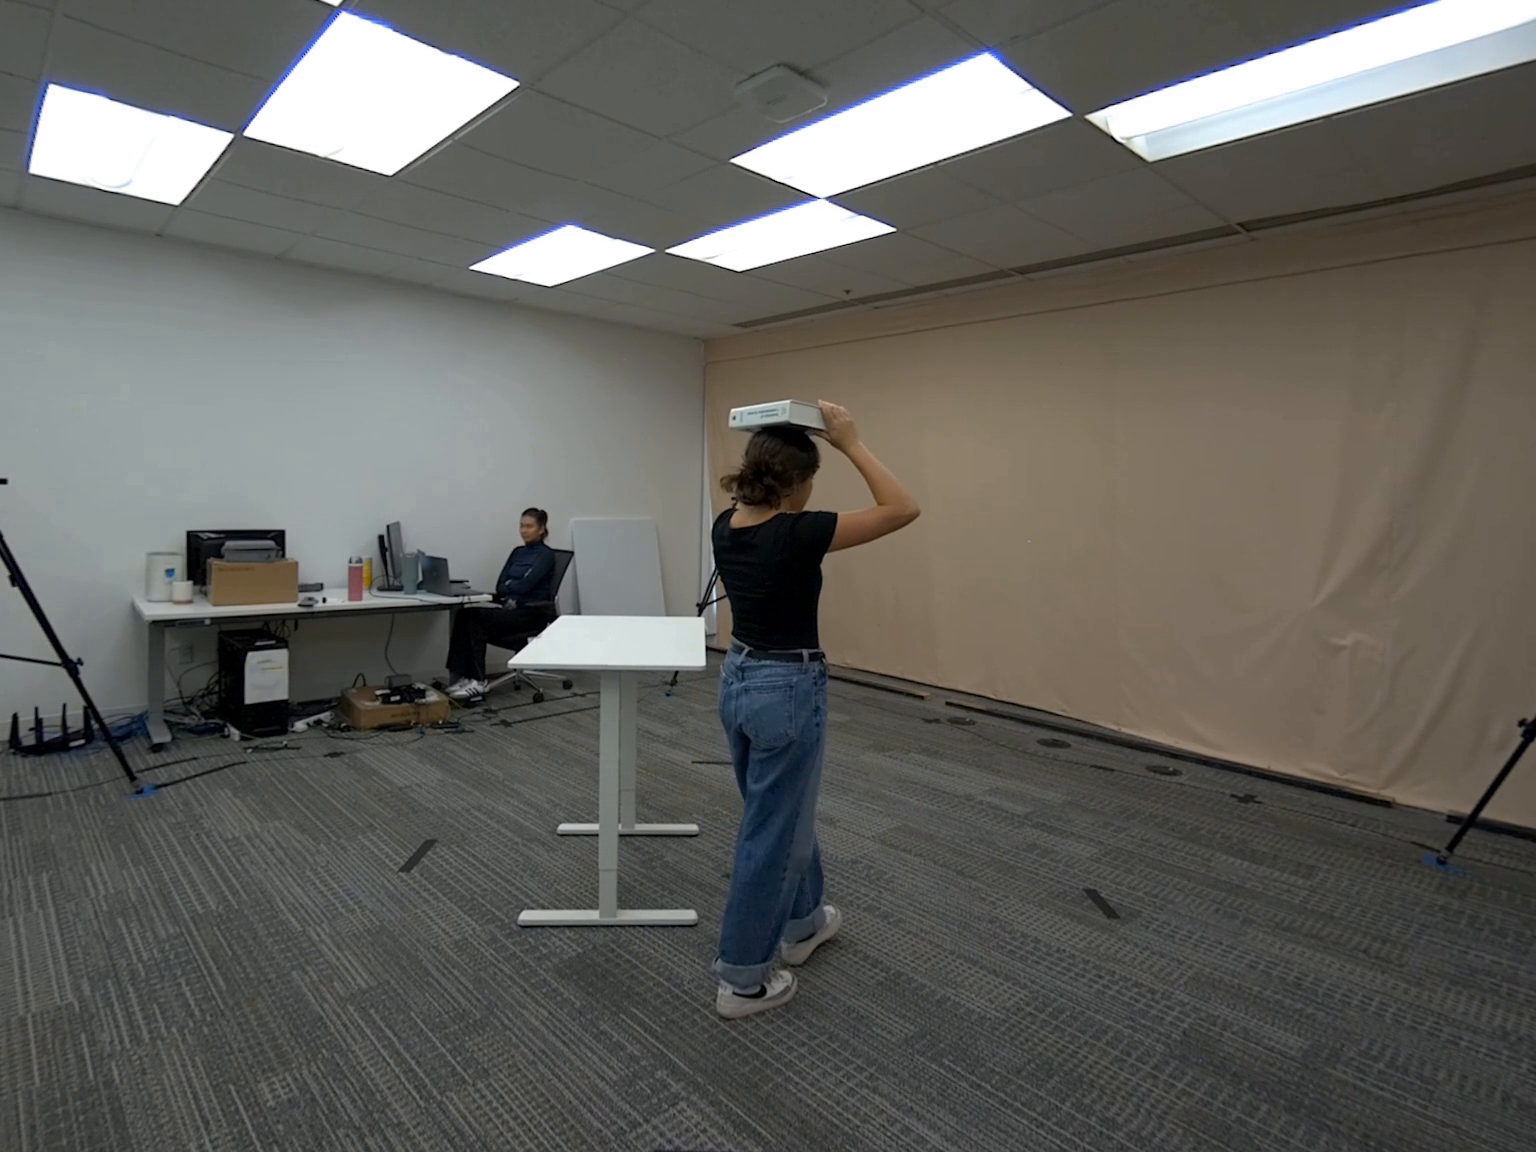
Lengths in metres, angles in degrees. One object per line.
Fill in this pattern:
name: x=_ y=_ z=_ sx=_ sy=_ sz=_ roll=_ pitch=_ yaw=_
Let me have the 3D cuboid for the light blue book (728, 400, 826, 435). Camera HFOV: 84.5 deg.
light blue book: x=0.039 y=-0.422 z=2.284 sx=0.186 sy=0.059 sz=0.268 roll=2 pitch=3 yaw=-43
